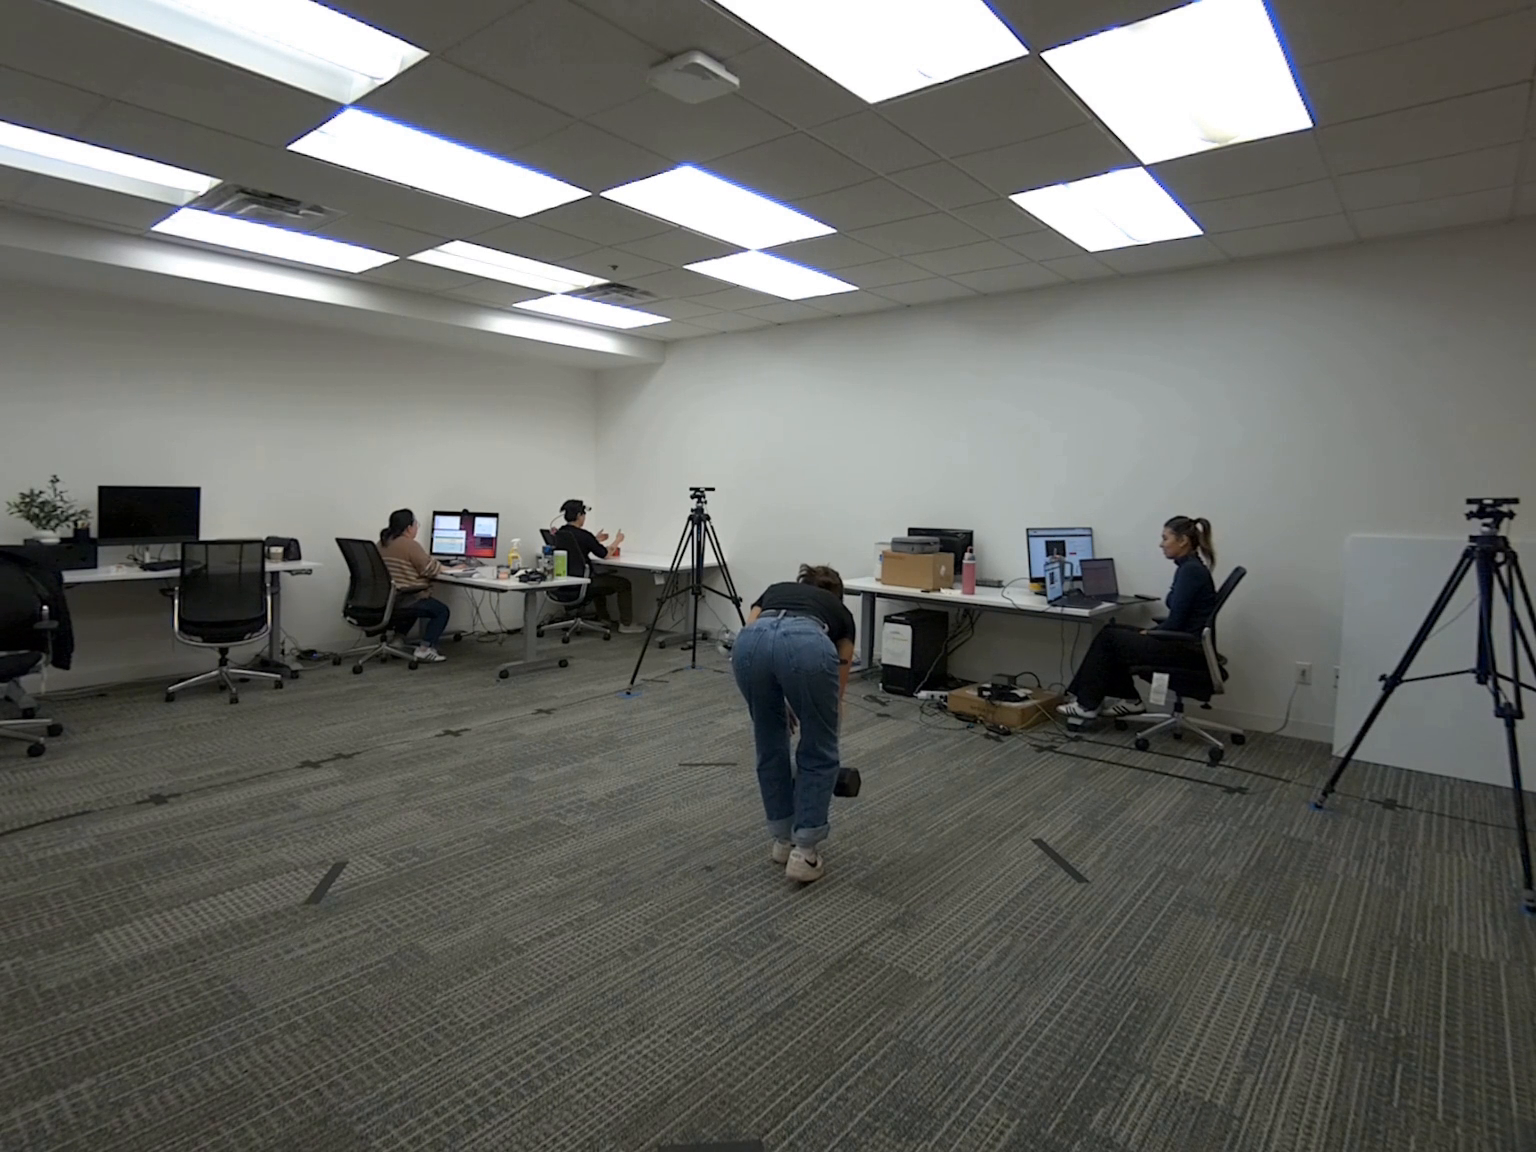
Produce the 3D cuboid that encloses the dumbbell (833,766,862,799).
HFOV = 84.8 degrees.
[{"bbox_3d":[0.197,0.774,3.268,0.302,0.124,0.104,-5,-44,37],"label":"dumbbell"}]
